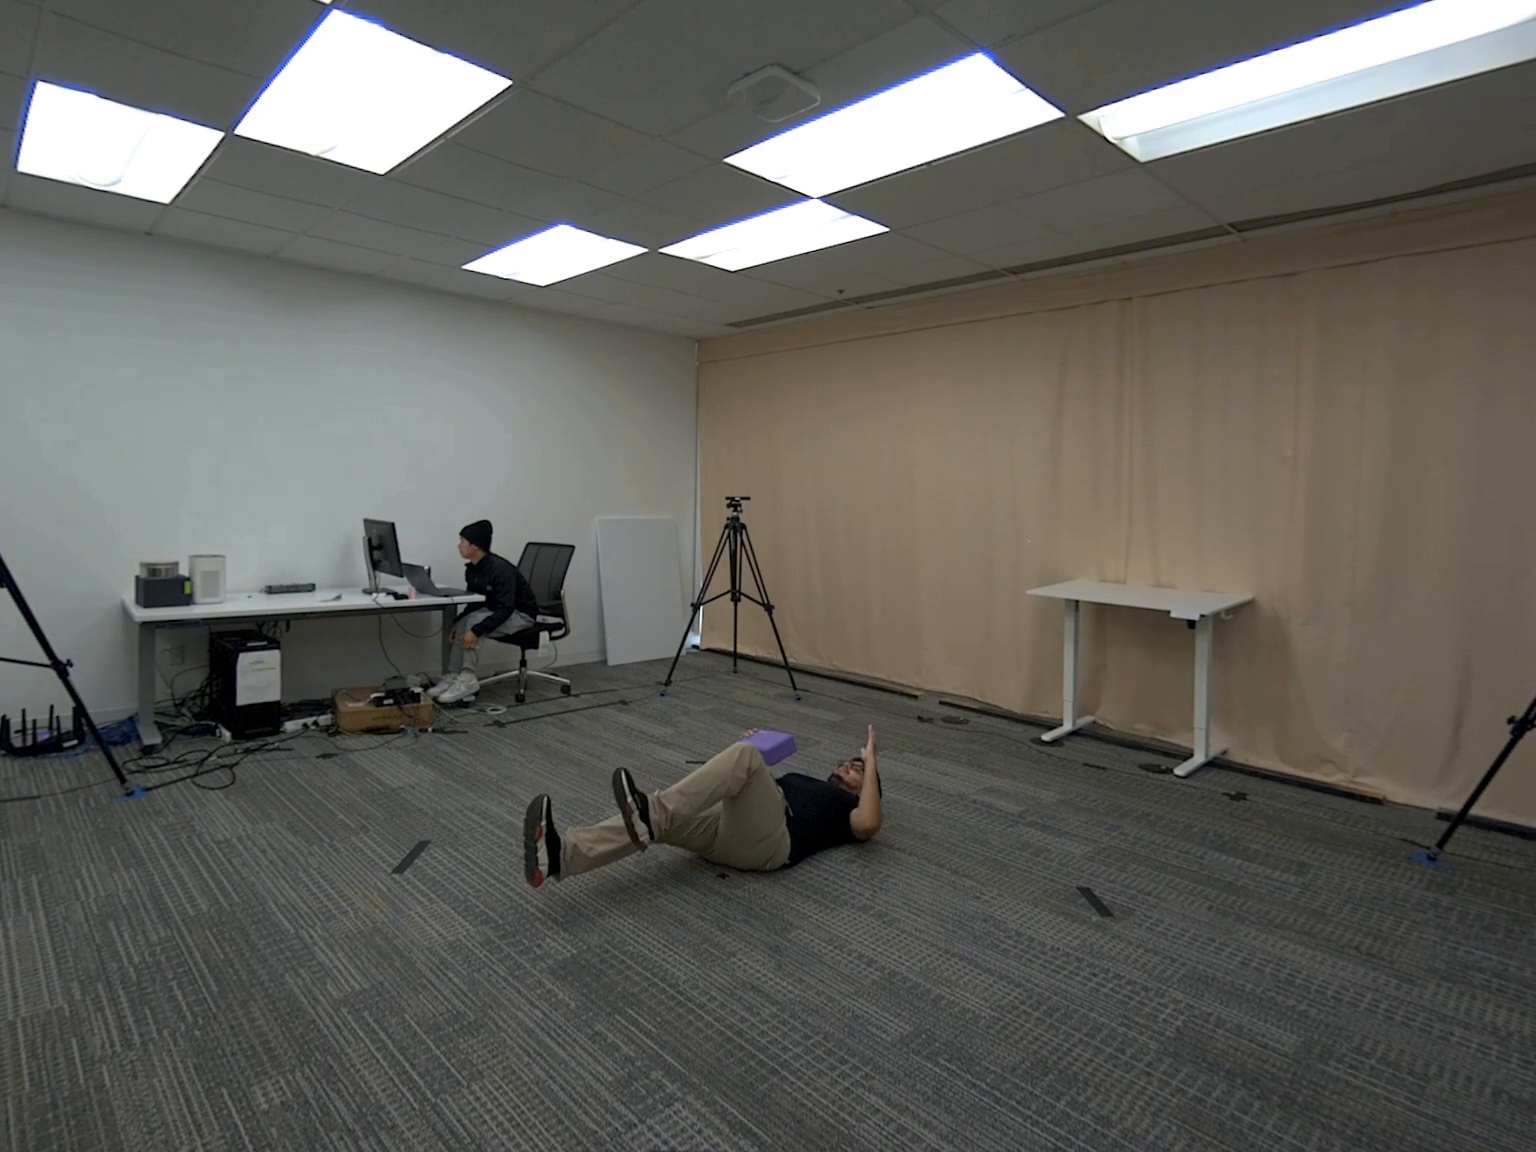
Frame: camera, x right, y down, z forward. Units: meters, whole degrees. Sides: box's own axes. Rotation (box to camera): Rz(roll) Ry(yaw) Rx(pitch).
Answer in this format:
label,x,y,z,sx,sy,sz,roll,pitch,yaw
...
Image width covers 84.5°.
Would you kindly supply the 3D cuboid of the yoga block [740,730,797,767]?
label,x,y,z,sx,sy,sz,roll,pitch,yaw
yoga block,-0.020,0.698,3.401,0.147,0.076,0.234,-20,9,-31
